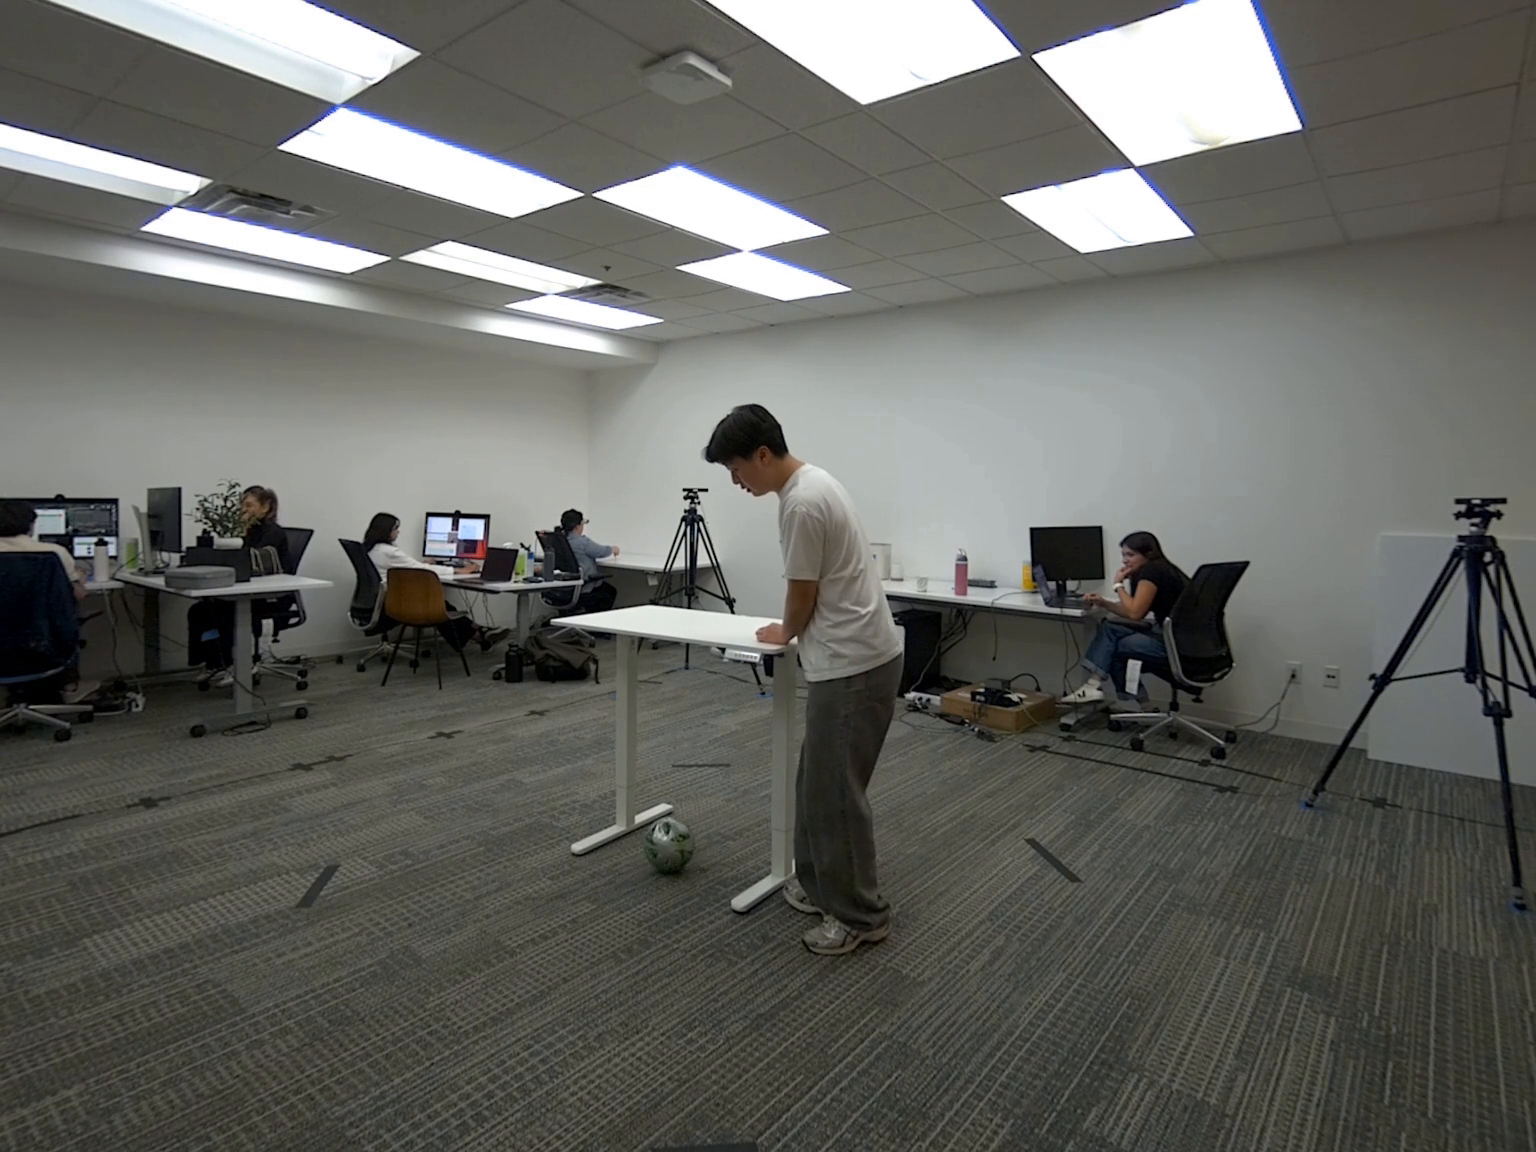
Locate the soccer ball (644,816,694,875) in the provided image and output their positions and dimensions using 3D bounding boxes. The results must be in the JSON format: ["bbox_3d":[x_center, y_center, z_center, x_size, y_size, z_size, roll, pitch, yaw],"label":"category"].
[{"bbox_3d":[-0.357,0.972,3.098,0.187,0.187,0.188,1,4,-2],"label":"soccer ball"}]
